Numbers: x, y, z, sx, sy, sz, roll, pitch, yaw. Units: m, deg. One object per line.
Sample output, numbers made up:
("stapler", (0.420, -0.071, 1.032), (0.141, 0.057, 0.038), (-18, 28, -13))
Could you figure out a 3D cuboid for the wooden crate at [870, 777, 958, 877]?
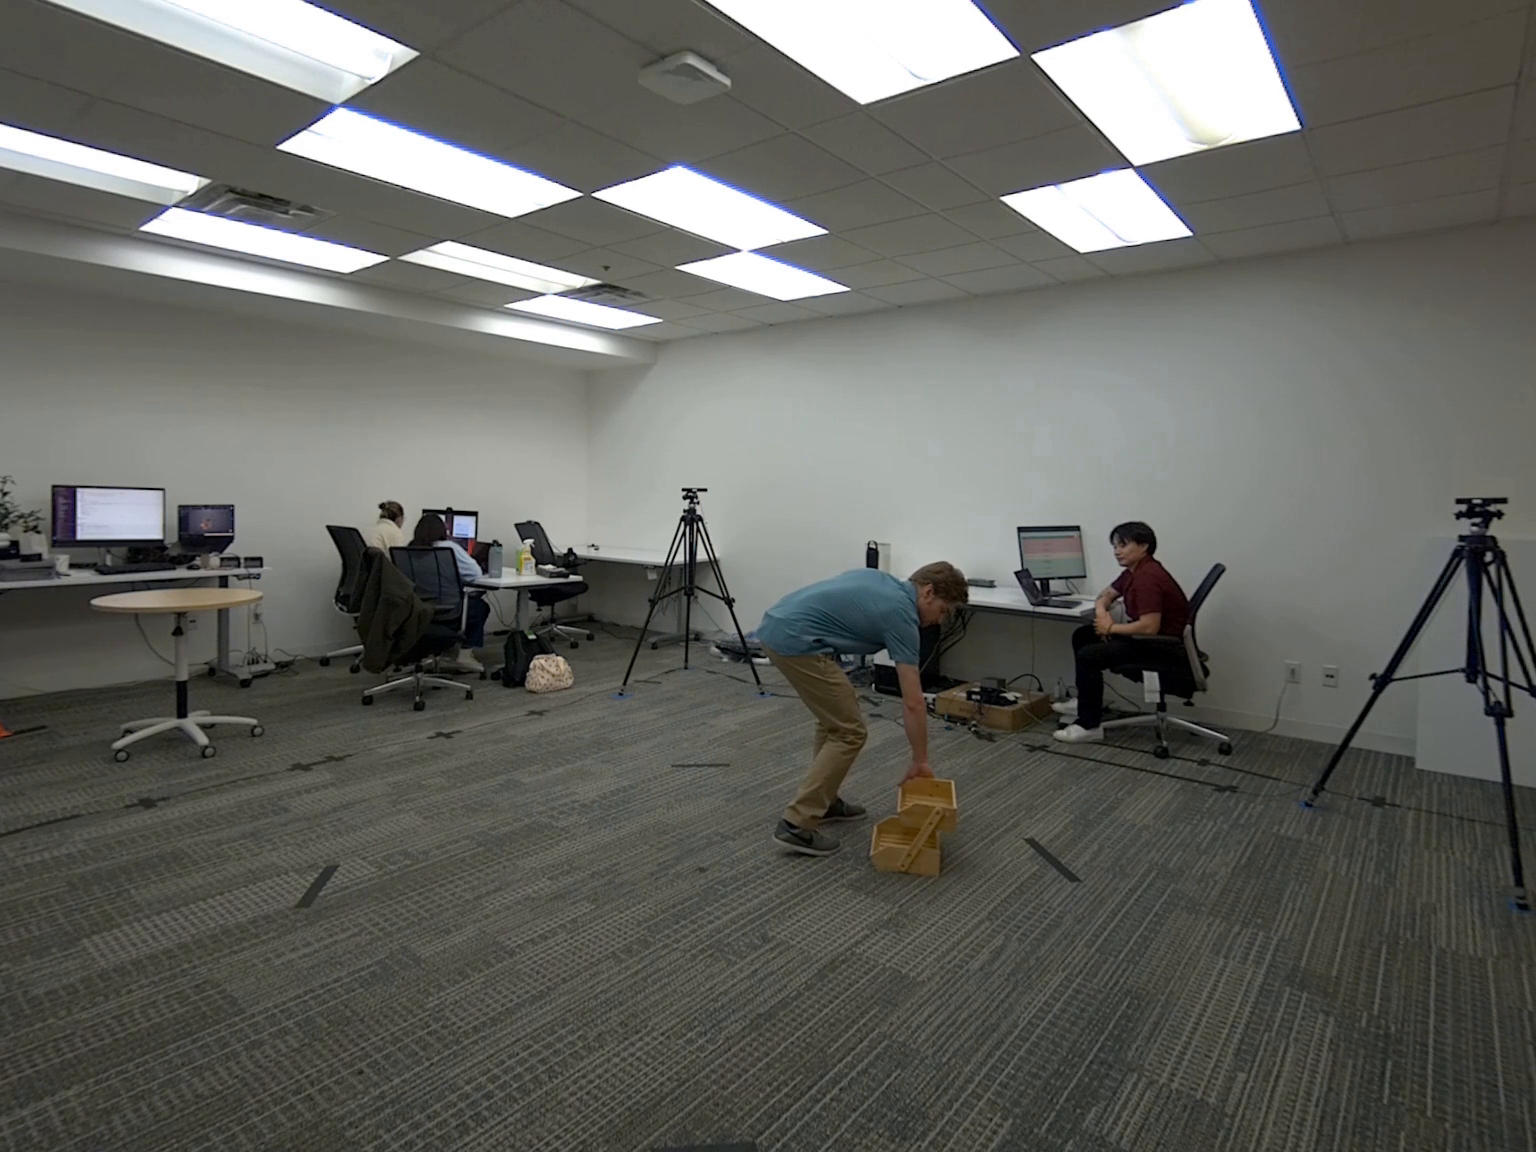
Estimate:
("wooden crate", (0.545, 0.938, 3.251), (0.306, 0.272, 0.321), (3, 5, 11))
